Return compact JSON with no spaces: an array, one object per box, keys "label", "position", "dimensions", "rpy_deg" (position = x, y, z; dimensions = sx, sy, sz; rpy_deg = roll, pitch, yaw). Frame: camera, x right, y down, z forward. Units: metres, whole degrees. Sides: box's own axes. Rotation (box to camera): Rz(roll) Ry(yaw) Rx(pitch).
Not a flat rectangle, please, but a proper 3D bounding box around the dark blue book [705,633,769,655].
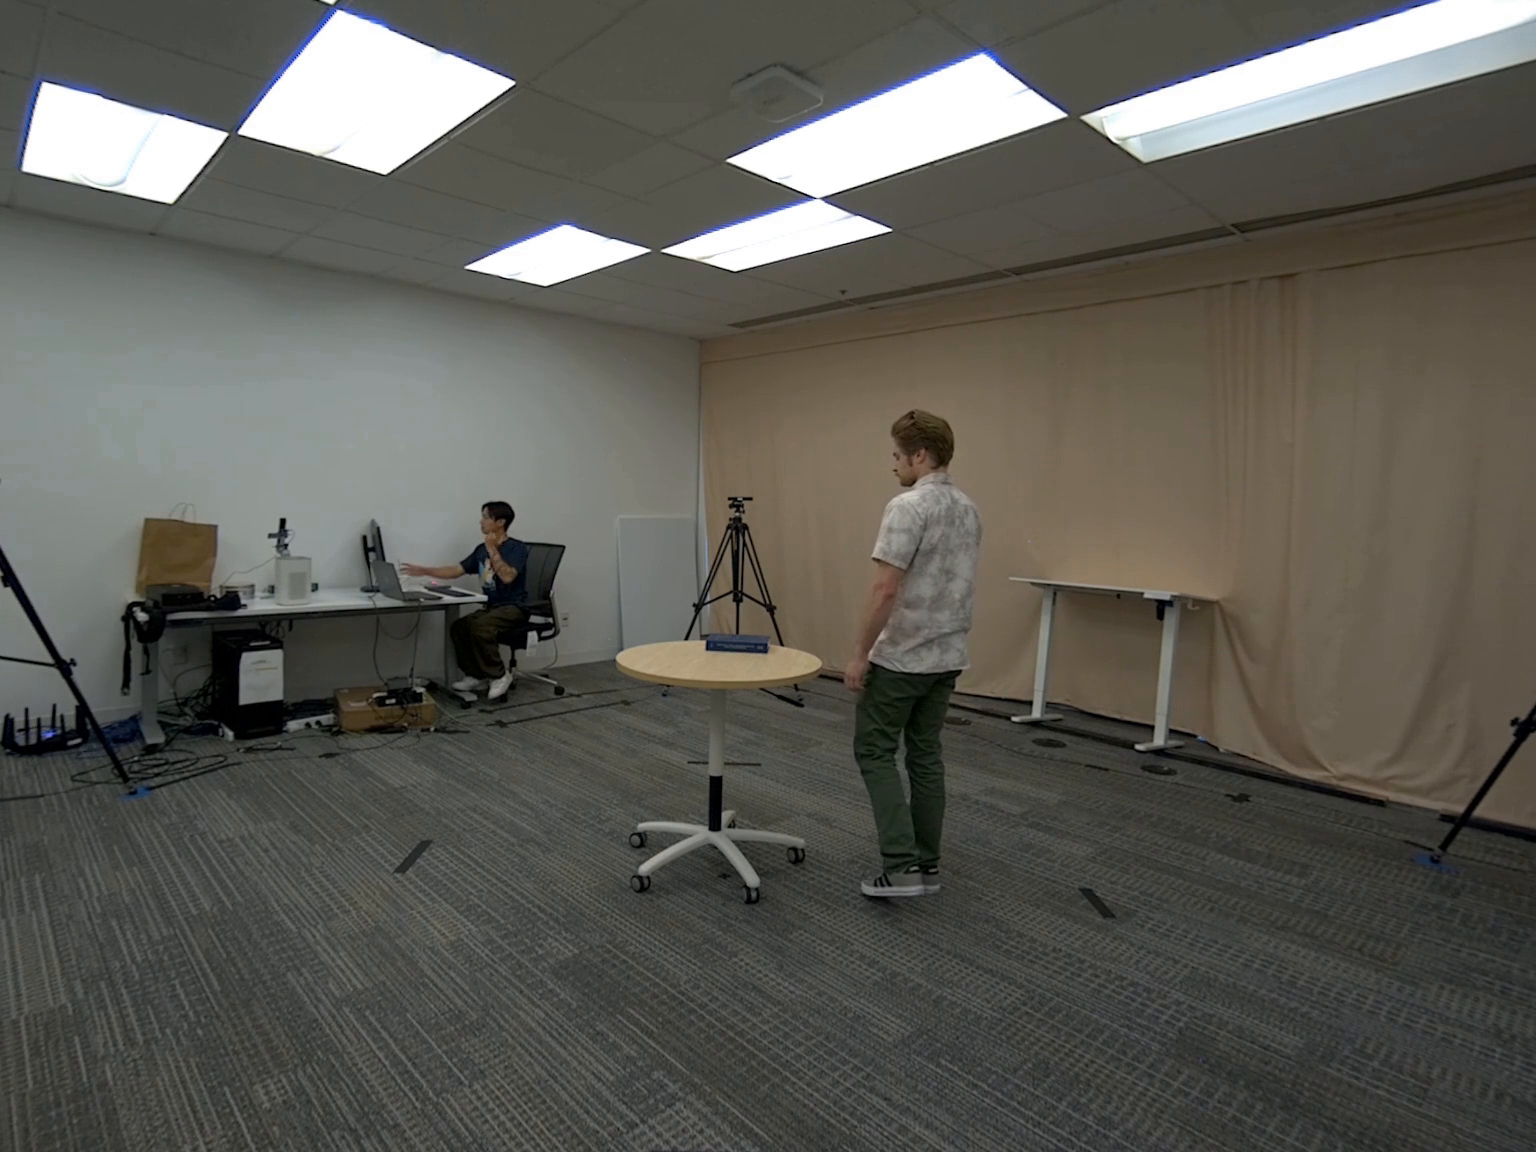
[{"label":"dark blue book","position":[-0.120,0.265,3.362],"dimensions":[0.246,0.045,0.163],"rpy_deg":[1,5,6]}]
